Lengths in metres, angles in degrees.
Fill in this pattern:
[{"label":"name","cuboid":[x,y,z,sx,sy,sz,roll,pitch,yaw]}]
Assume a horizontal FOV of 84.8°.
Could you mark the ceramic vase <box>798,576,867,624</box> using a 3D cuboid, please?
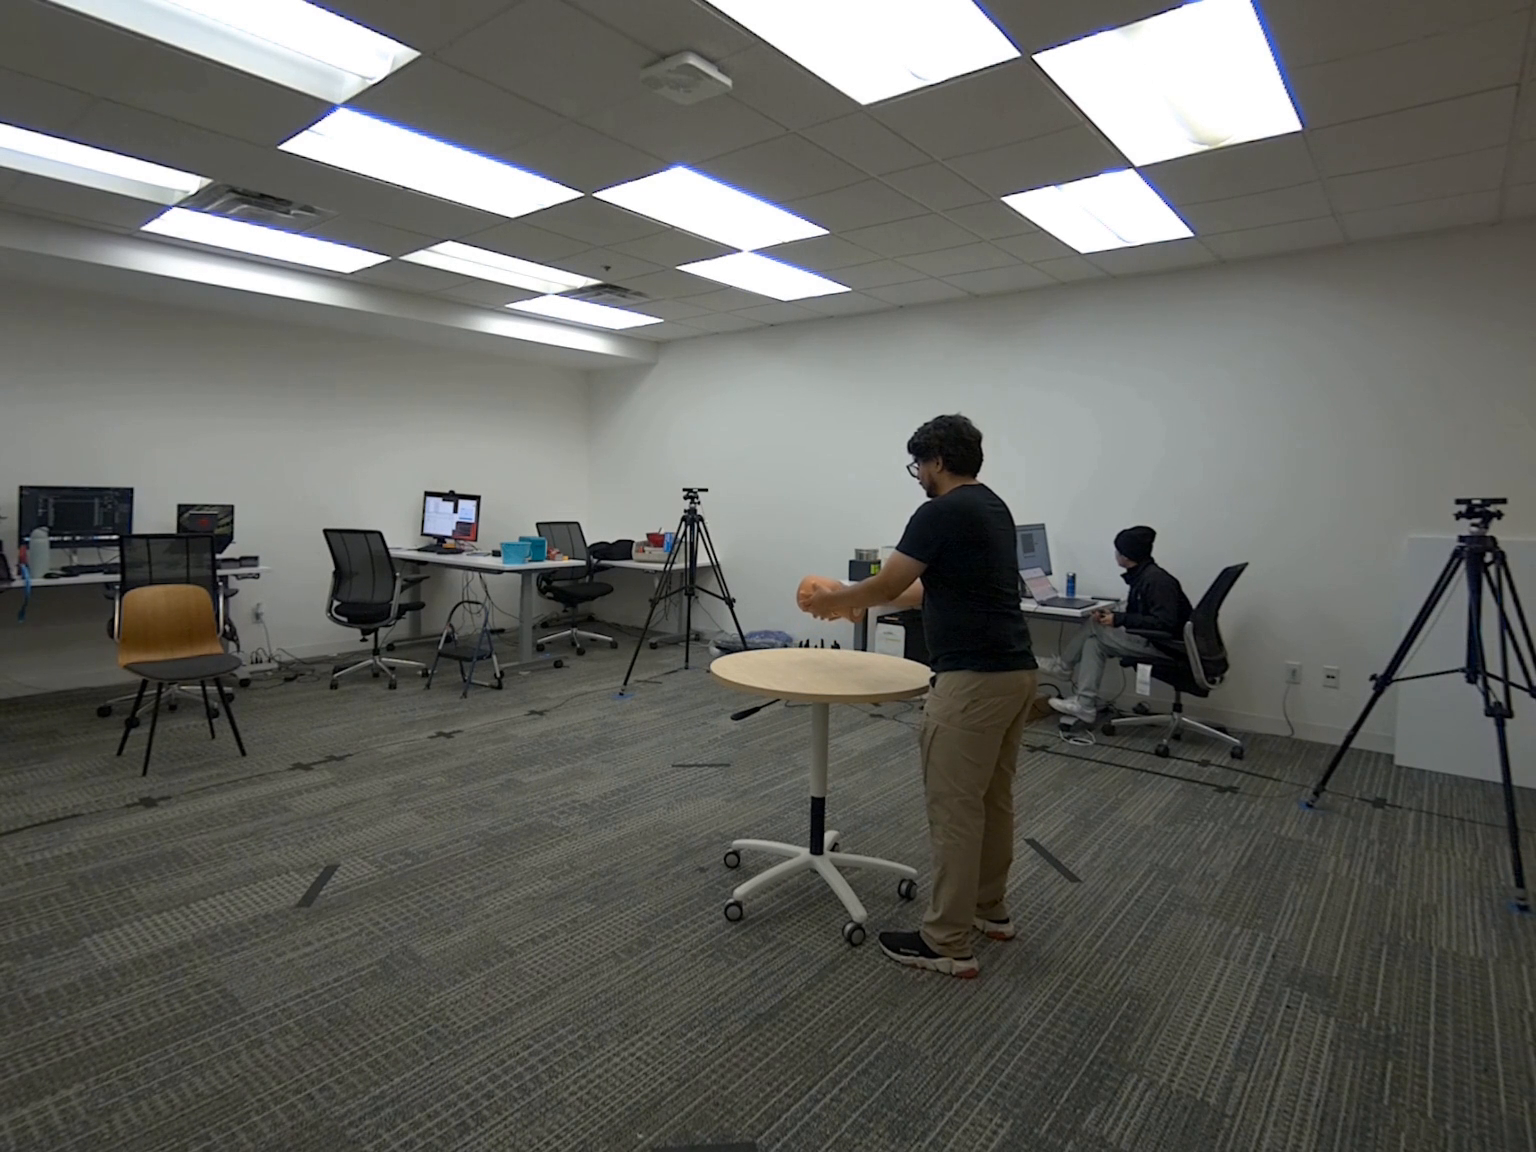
[{"label":"ceramic vase","cuboid":[0.214,0.075,2.934,0.228,0.130,0.158,16,43,41]}]
